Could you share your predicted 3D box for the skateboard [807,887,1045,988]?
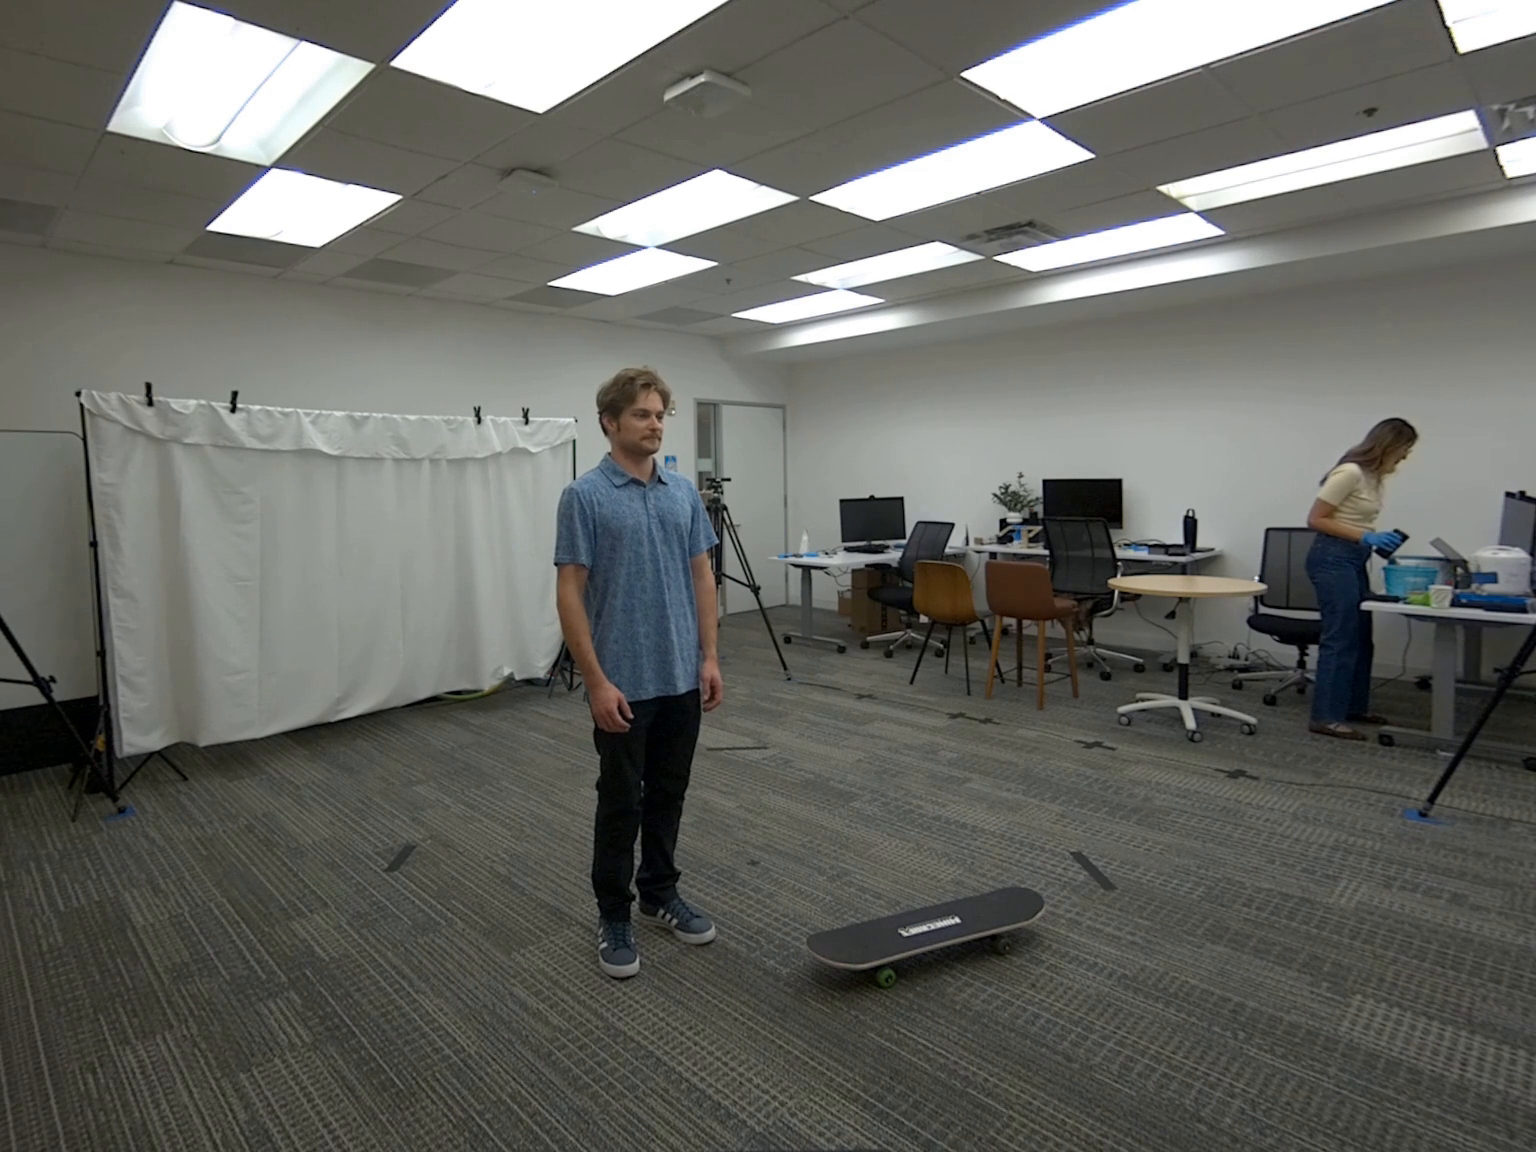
[{"bbox_3d":[0.472,1.045,2.485,0.771,0.110,0.198,-4,6,-21],"label":"skateboard"}]
